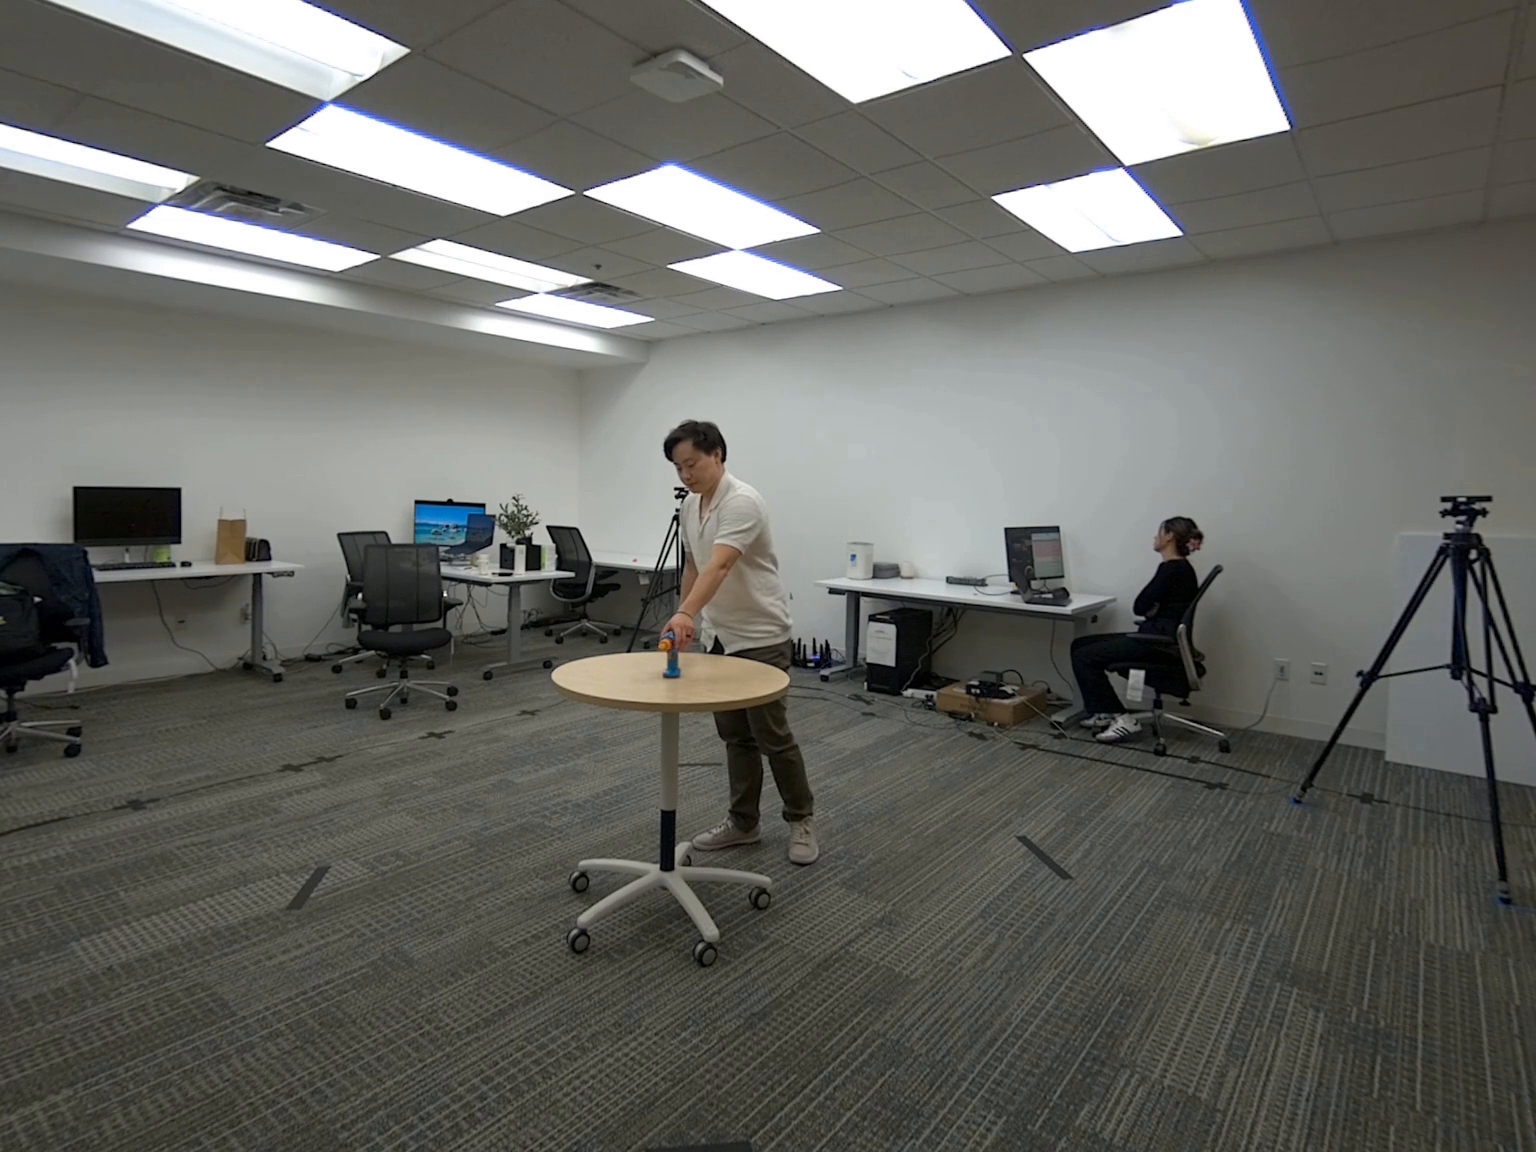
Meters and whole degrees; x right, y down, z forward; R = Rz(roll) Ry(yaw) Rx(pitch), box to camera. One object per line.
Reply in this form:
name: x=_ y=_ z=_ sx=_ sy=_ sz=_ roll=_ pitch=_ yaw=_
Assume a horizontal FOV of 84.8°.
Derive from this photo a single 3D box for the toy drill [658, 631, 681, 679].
toy drill: x=-0.325 y=0.246 z=2.686 sx=0.061 sy=0.146 sz=0.169 roll=-1 pitch=2 yaw=1
